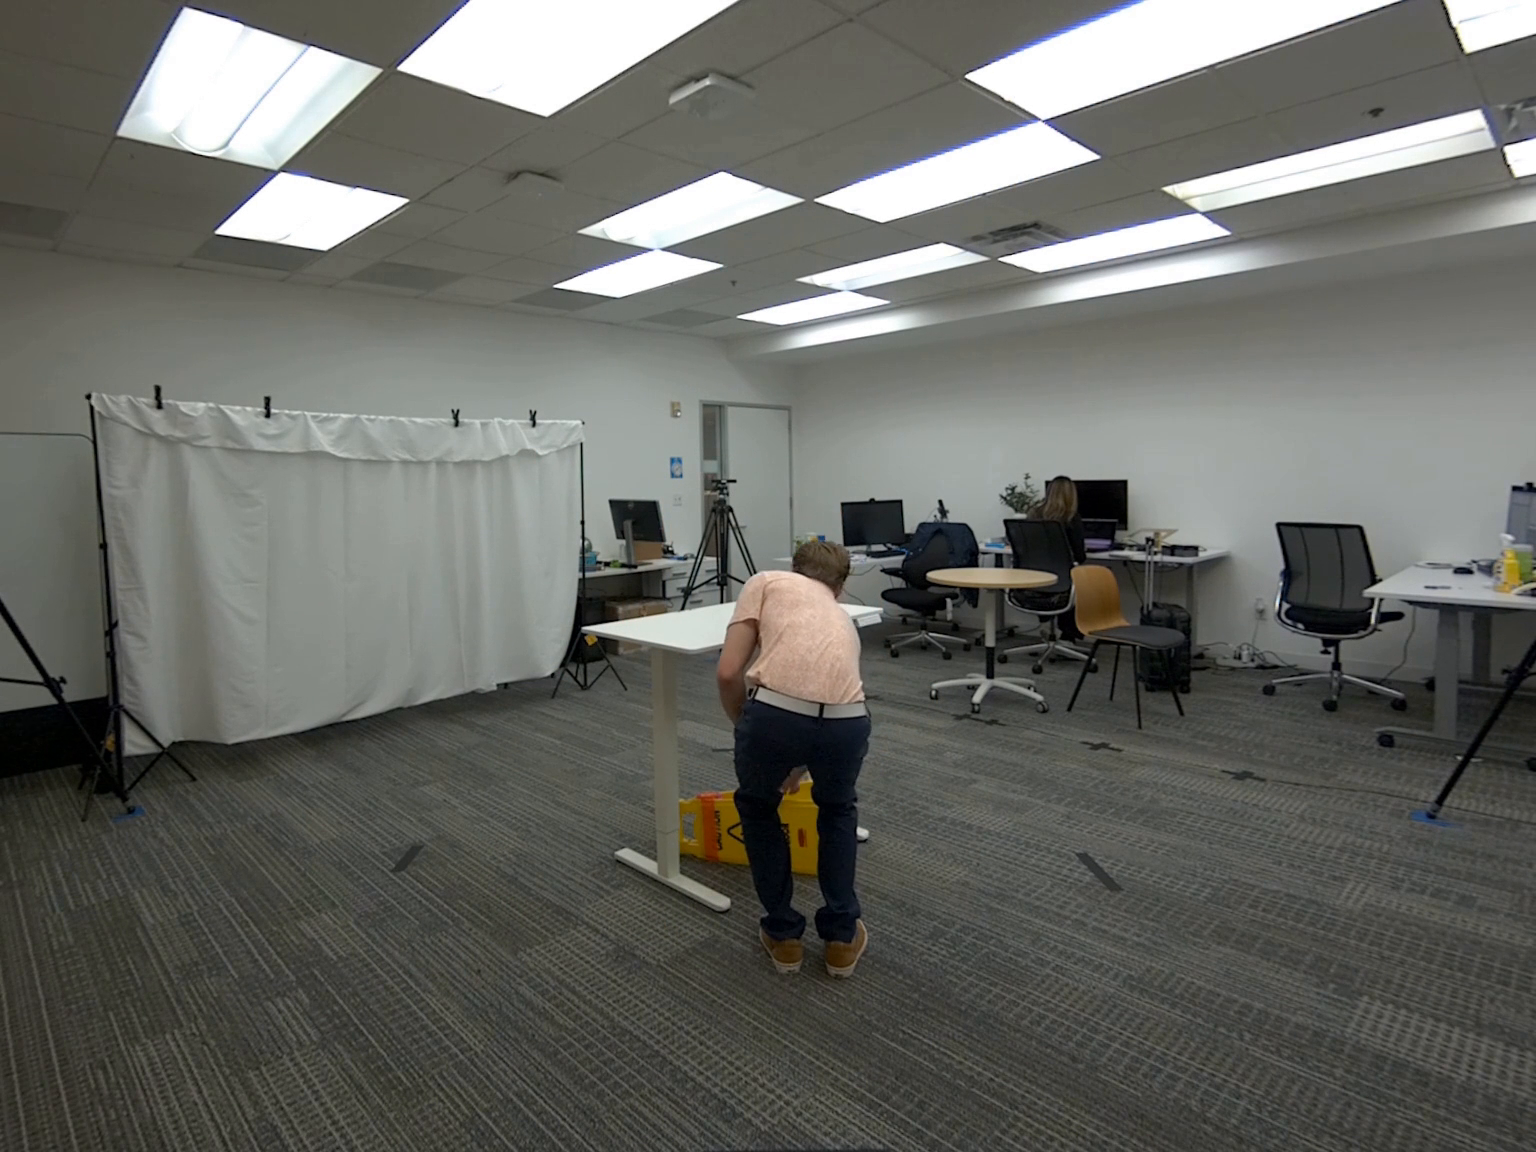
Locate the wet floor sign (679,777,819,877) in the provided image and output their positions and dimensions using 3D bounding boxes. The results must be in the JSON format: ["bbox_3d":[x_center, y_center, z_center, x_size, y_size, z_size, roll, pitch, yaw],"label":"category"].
[{"bbox_3d":[-0.032,0.915,3.133,0.652,0.281,0.288,-4,5,9],"label":"wet floor sign"}]
